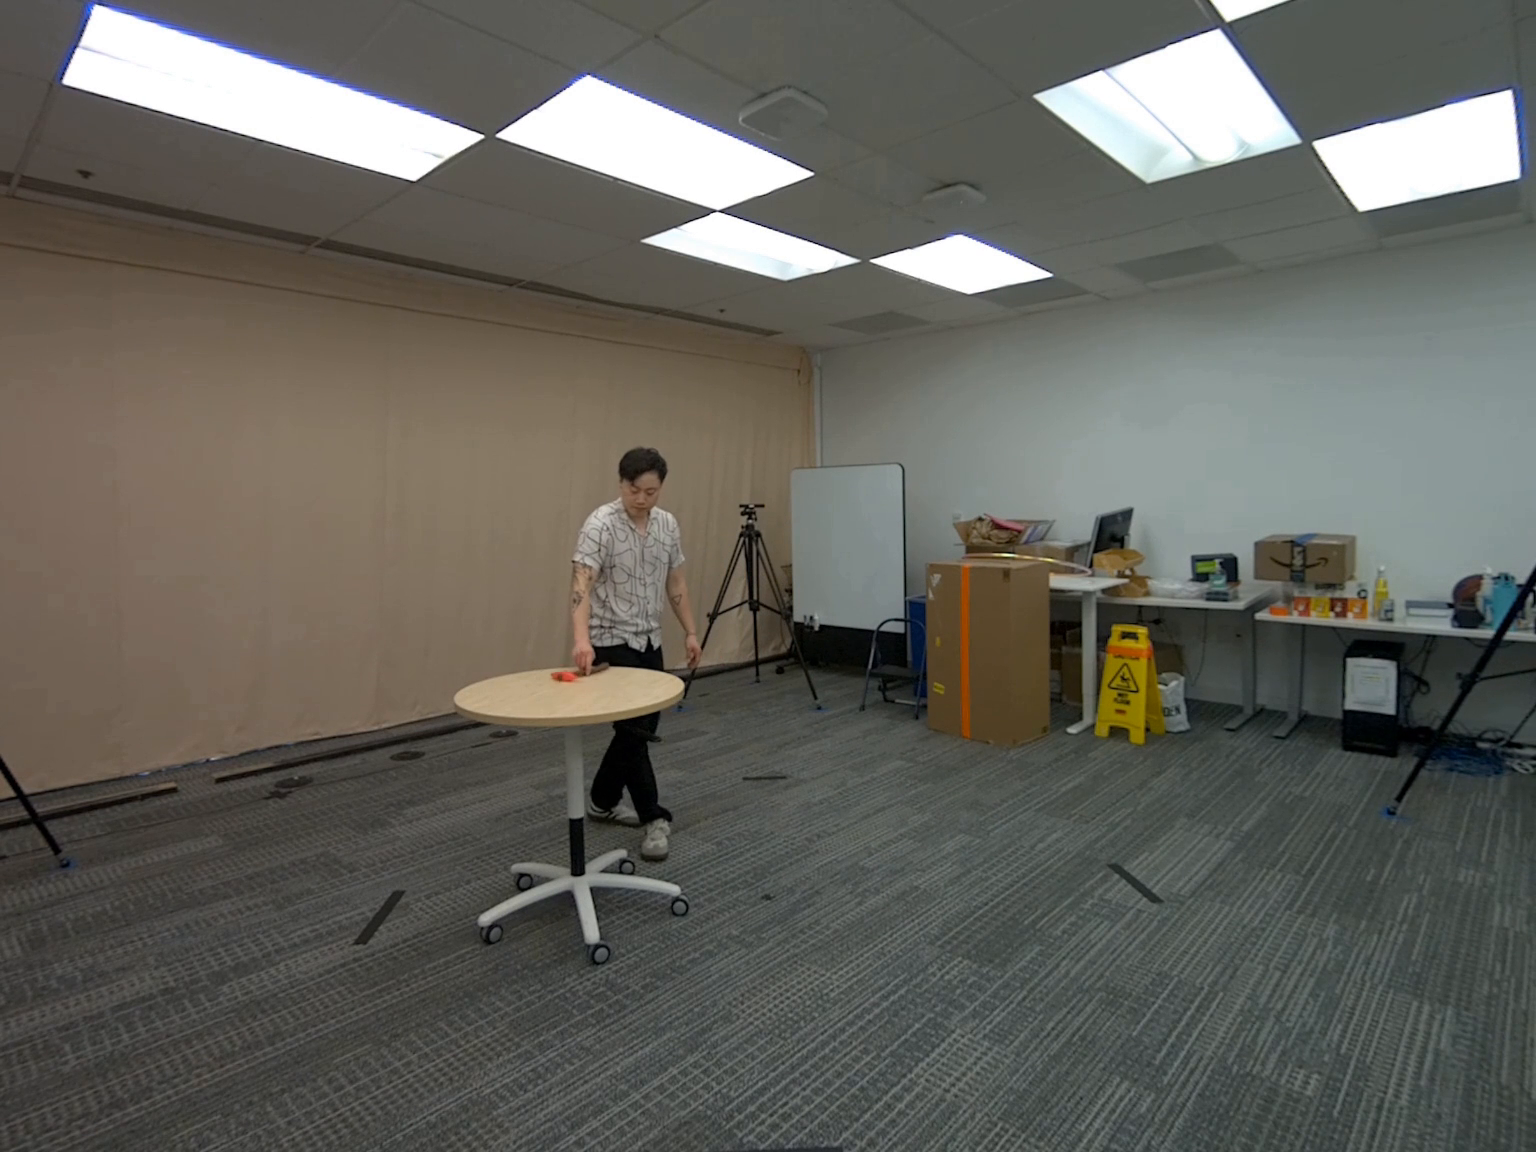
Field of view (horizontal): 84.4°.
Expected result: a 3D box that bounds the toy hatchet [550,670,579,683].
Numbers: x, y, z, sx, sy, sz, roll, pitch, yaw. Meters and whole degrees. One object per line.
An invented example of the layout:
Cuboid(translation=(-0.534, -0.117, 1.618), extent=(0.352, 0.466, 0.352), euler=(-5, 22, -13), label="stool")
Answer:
Cuboid(translation=(-0.696, 0.349, 3.100), extent=(0.133, 0.029, 0.266), euler=(2, 4, 14), label="toy hatchet")
